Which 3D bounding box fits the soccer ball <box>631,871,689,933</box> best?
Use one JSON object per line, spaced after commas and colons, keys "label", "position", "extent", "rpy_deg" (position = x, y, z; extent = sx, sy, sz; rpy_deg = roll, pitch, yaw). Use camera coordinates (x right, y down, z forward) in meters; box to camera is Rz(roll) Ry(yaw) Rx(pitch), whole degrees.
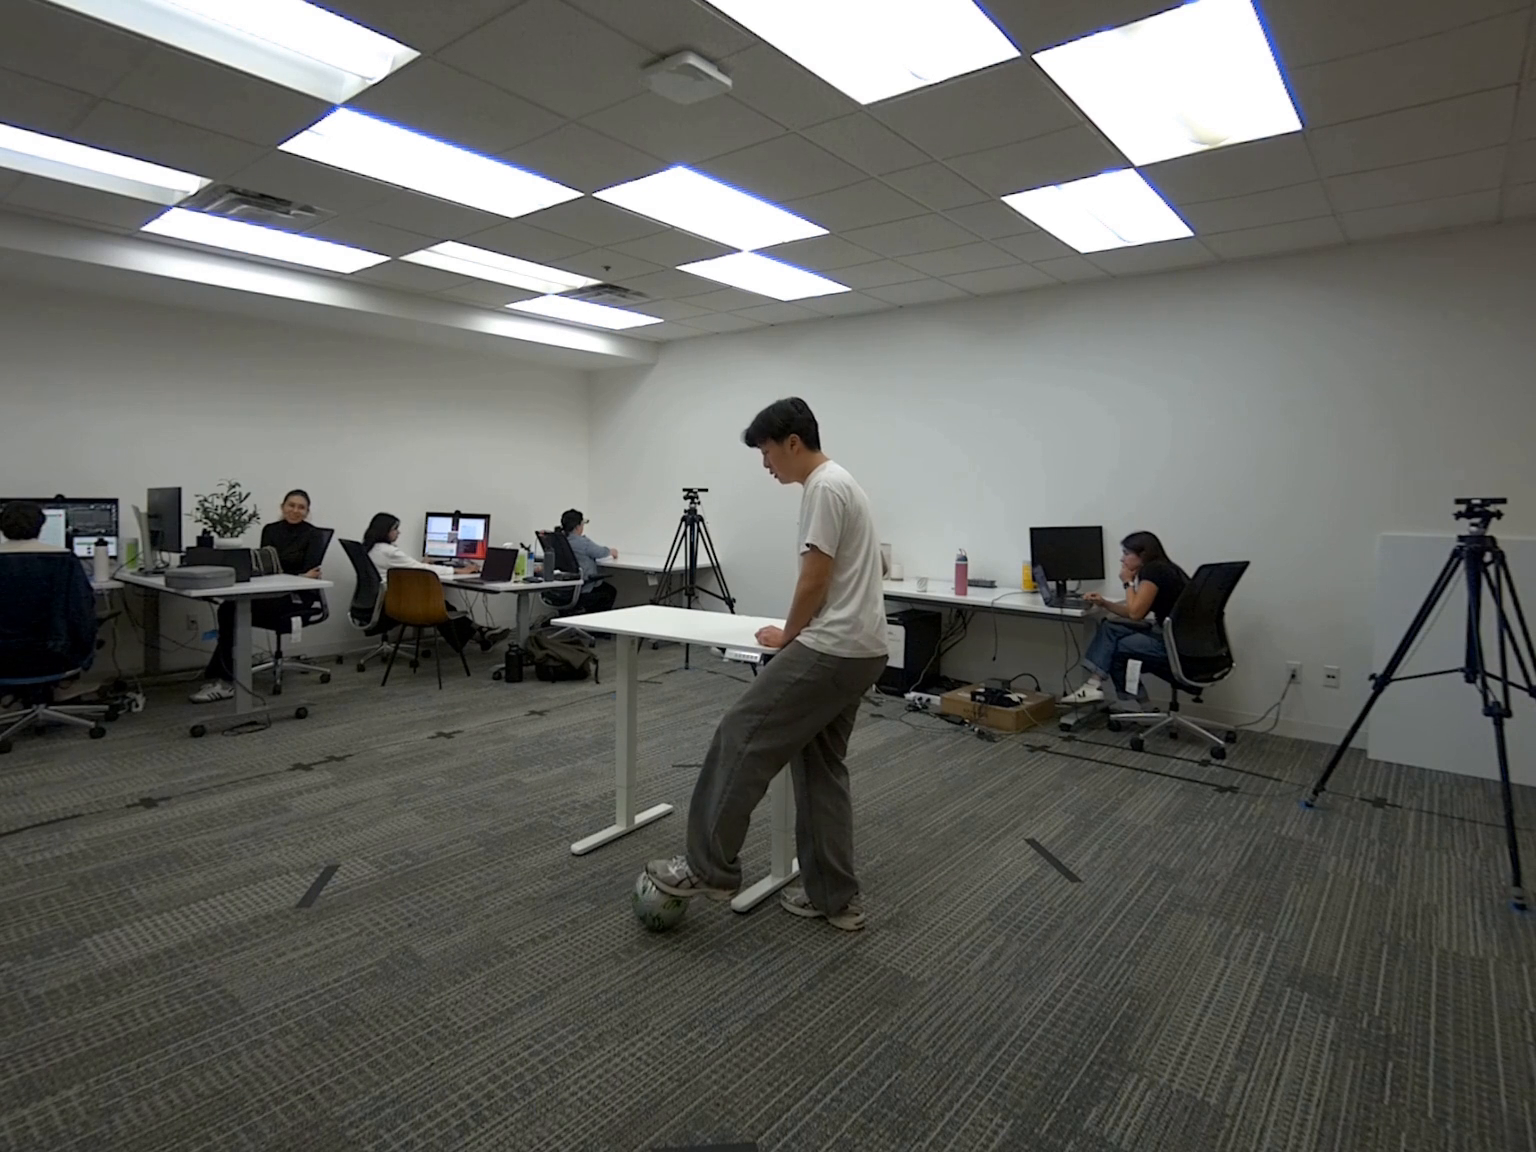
{"label": "soccer ball", "position": [-0.337, 1.003, 2.708], "extent": [0.187, 0.187, 0.188], "rpy_deg": [1, 4, -2]}
